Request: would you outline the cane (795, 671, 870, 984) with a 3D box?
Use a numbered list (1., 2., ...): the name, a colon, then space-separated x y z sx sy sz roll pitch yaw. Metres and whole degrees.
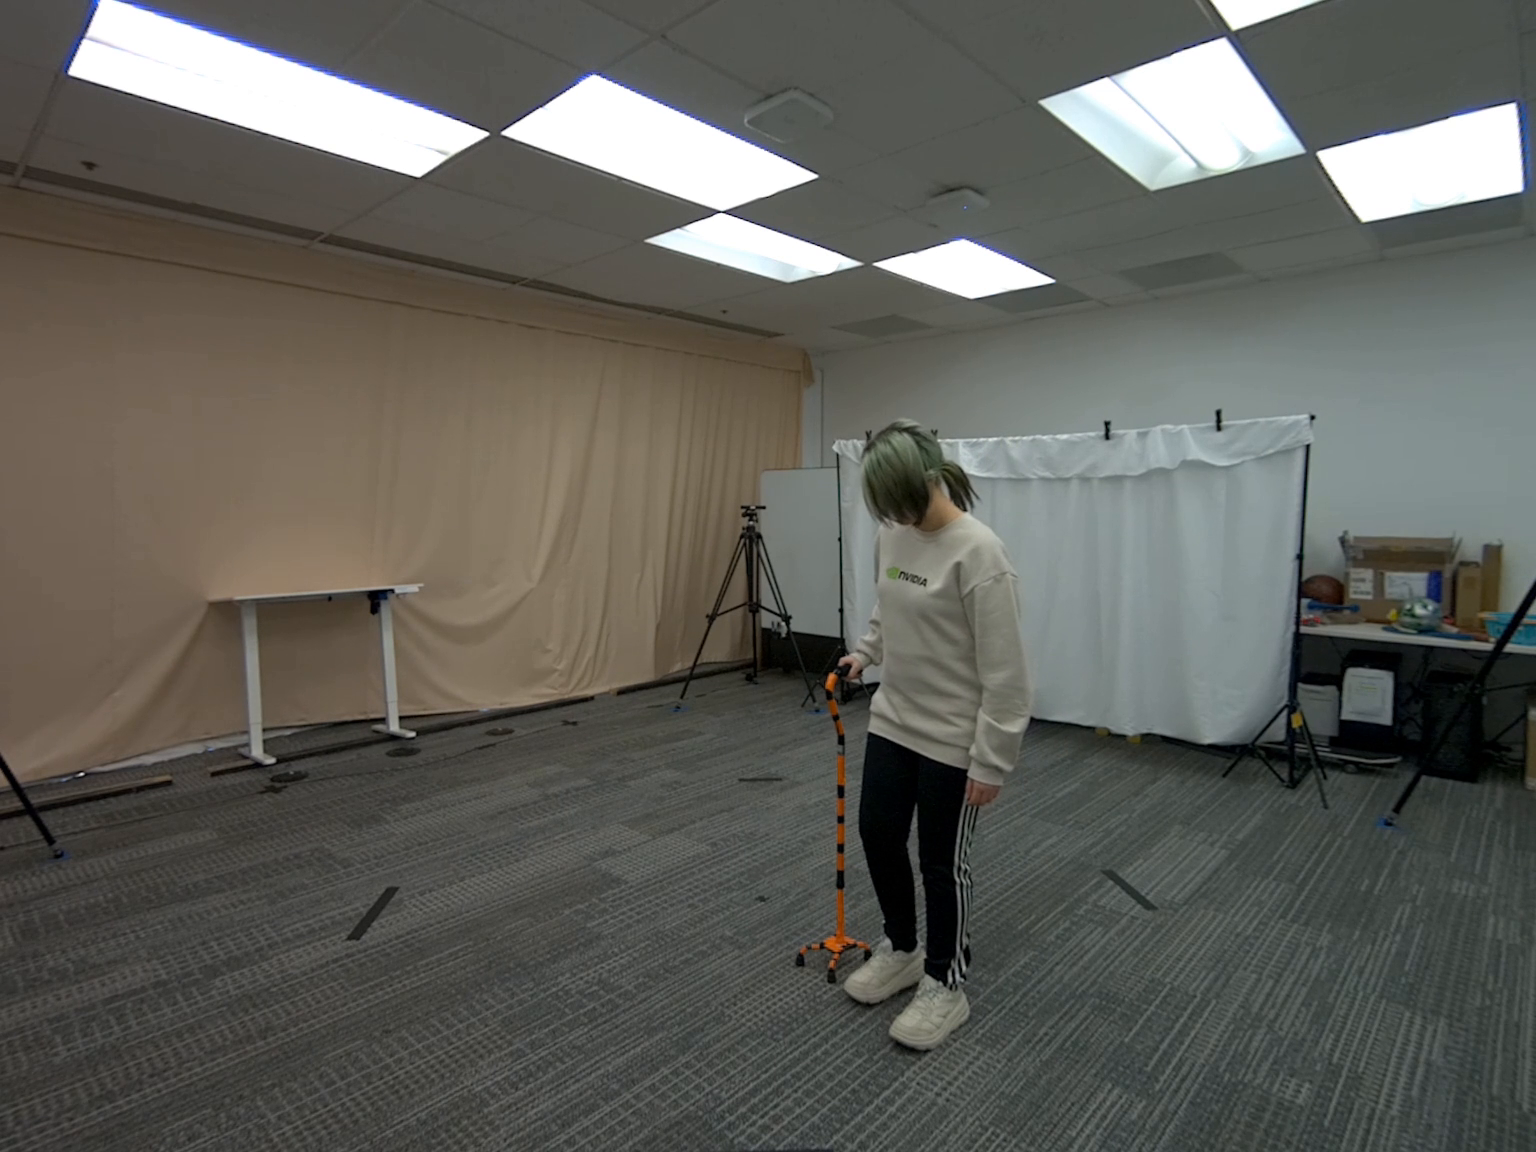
1. cane: 0.208 0.726 2.552 0.200 0.906 0.156 -2 3 -42
